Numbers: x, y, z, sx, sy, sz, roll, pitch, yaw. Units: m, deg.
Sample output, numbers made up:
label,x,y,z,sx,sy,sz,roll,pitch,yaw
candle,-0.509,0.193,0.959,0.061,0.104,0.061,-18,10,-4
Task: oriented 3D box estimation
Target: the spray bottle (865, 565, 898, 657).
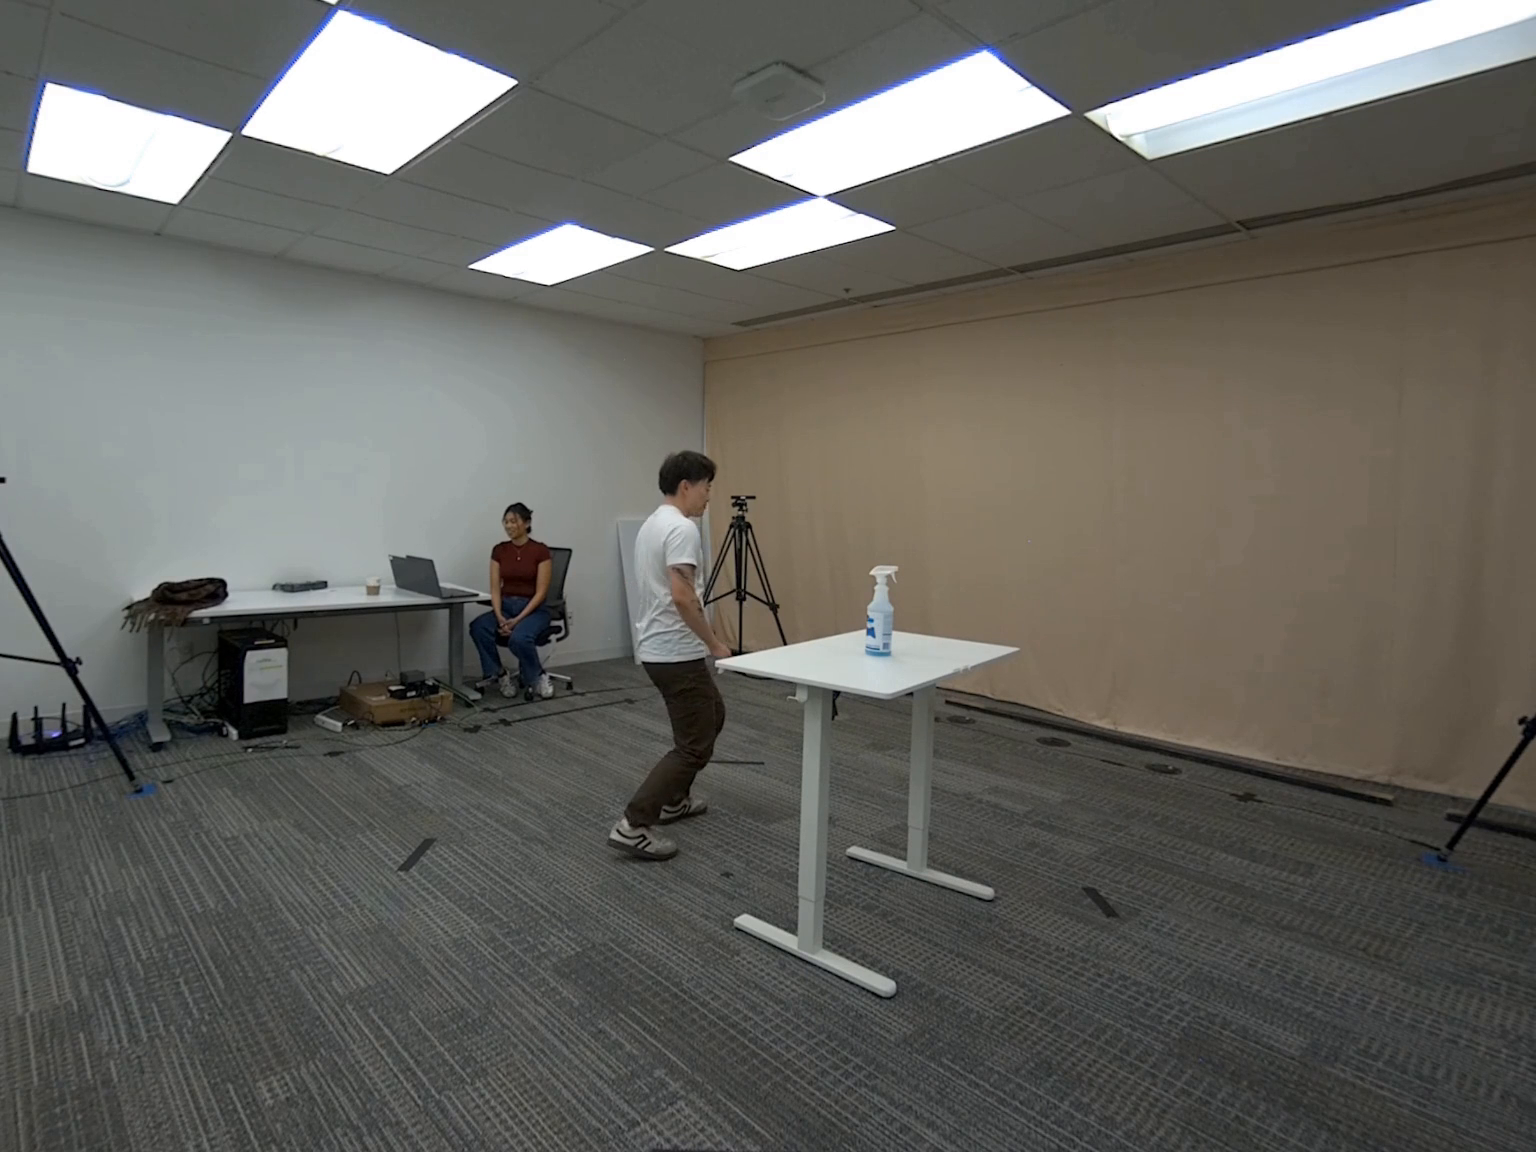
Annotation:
label,x,y,z,sx,sy,sz,roll,pitch,yaw
spray bottle,0.369,0.117,2.792,0.092,0.297,0.085,5,3,33
